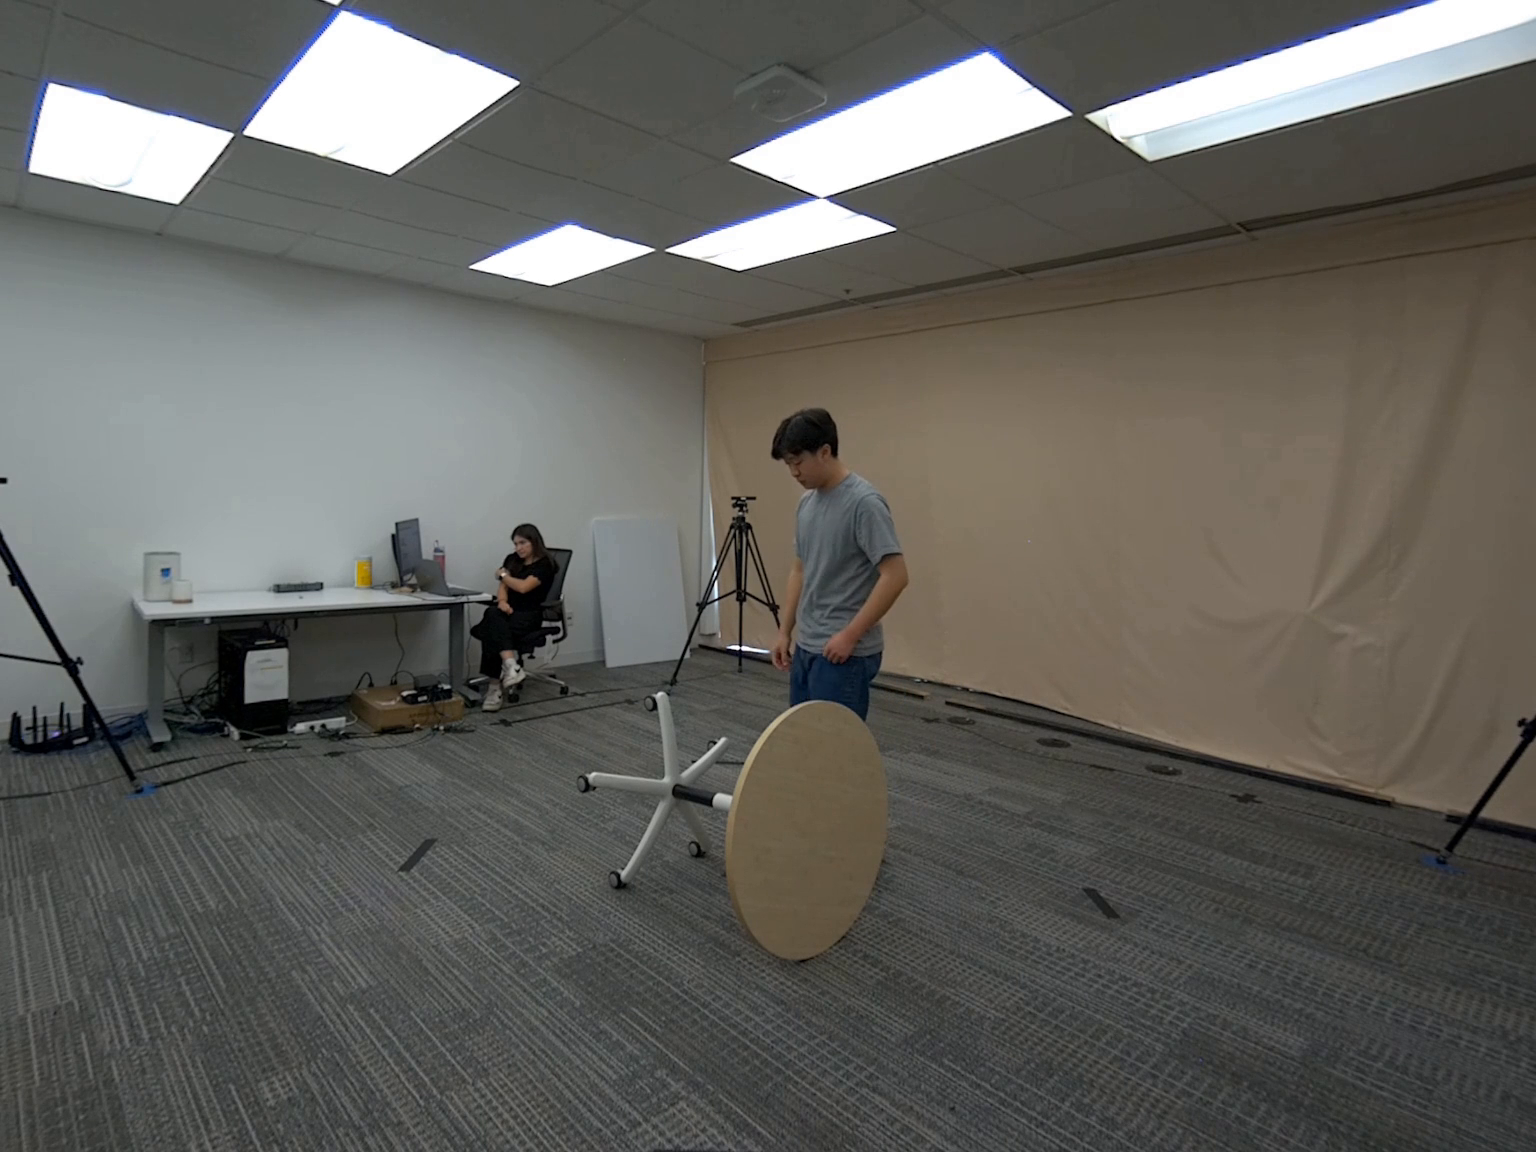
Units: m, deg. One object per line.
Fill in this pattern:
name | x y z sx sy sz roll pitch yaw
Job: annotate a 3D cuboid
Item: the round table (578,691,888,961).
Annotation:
round table | -0.149 0.783 2.871 0.812 0.764 0.747 -3 1 43
